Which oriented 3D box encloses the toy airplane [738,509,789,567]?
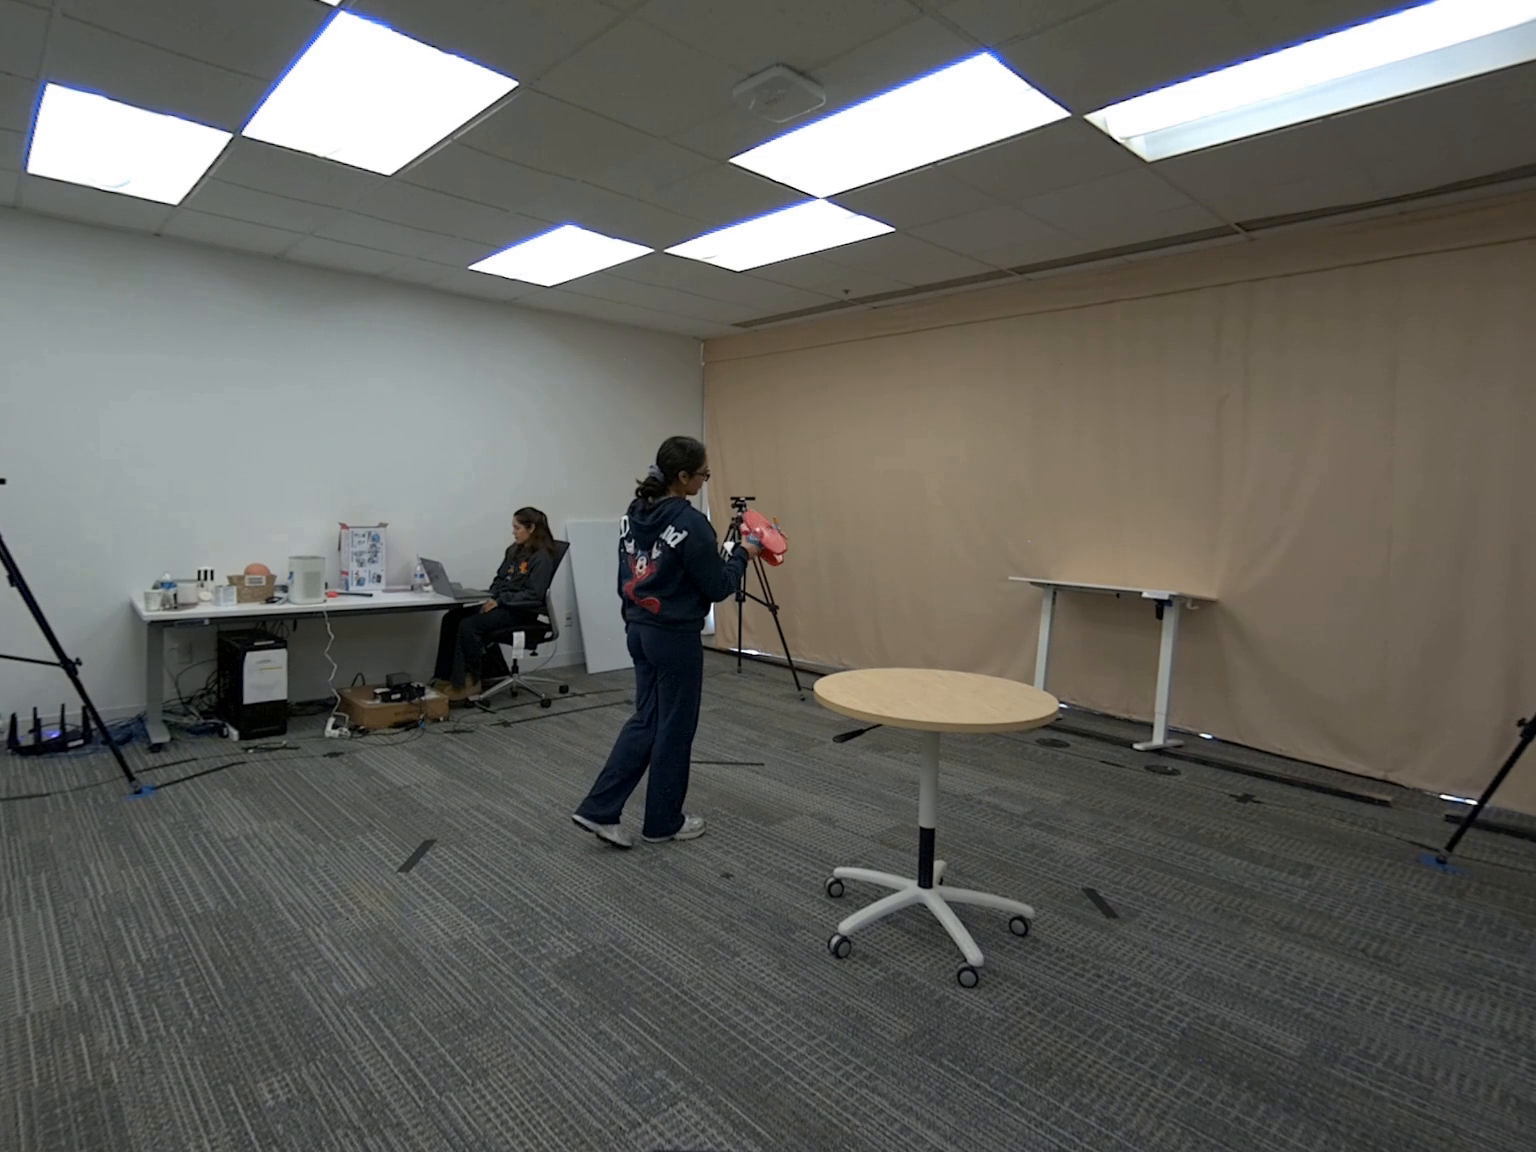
[{"bbox_3d":[-0.050,-0.128,3.546,0.252,0.155,0.260,30,41,4],"label":"toy airplane"}]
